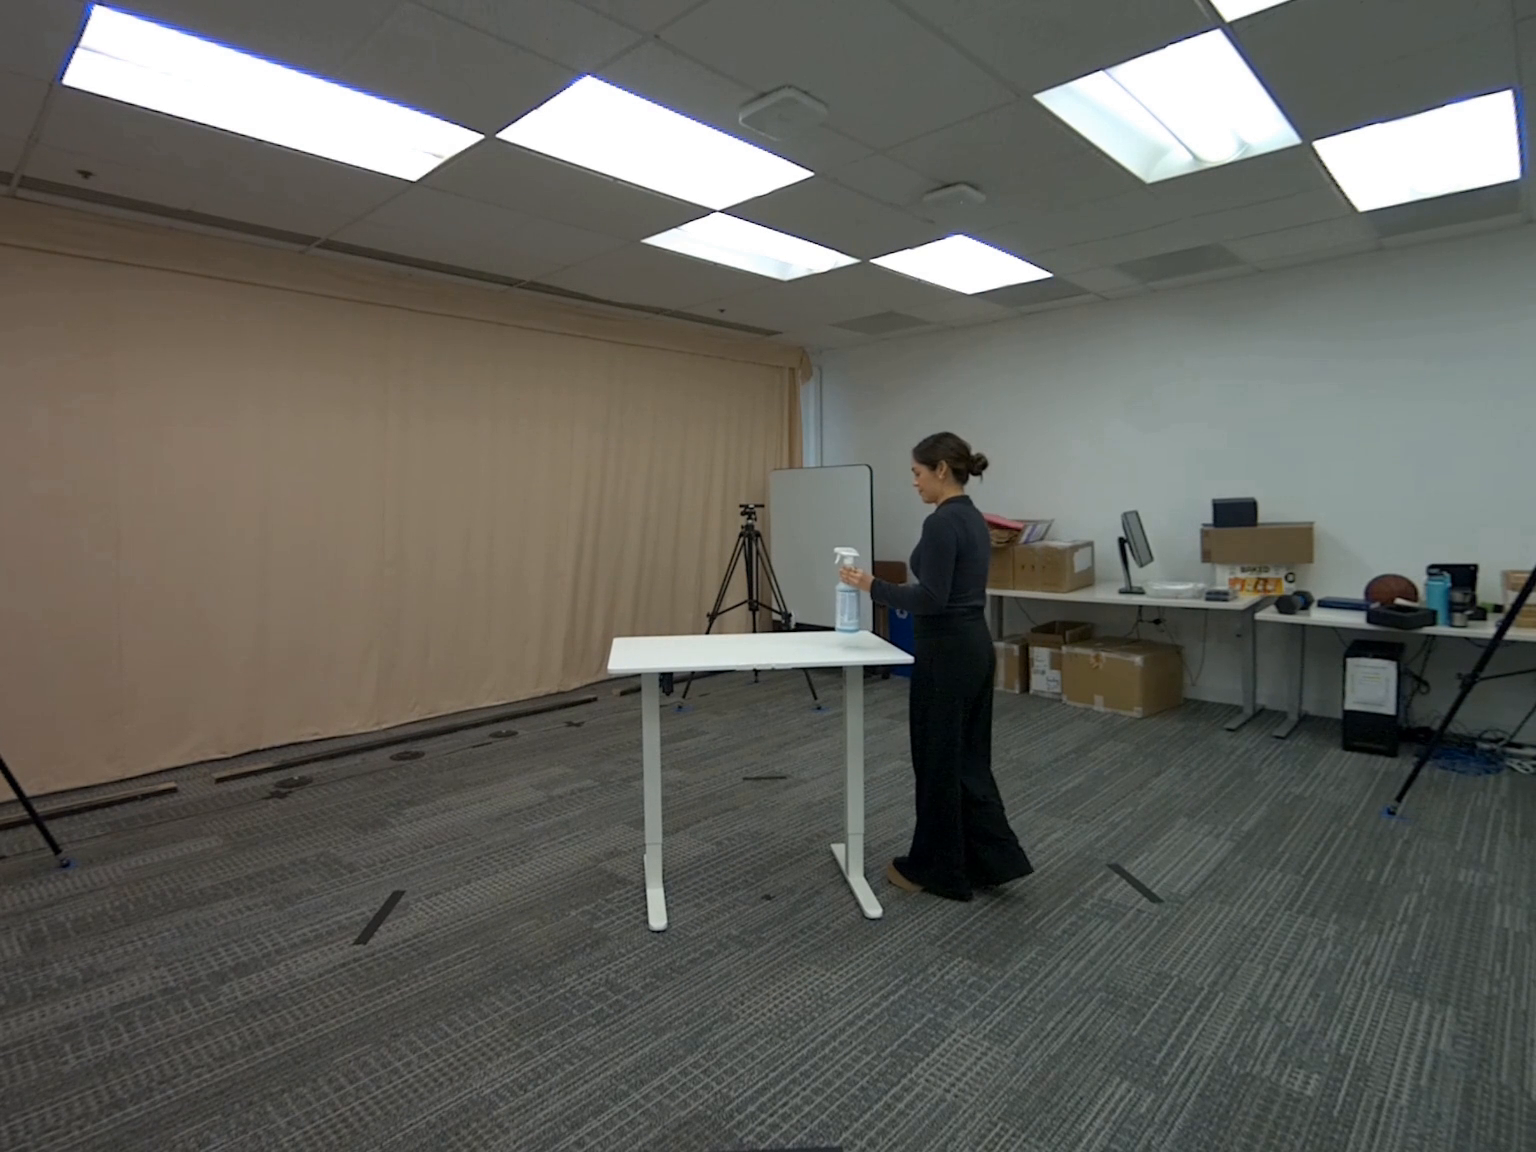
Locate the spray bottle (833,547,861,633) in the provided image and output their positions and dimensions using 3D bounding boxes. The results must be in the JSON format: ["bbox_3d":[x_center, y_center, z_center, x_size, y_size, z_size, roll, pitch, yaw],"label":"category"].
[{"bbox_3d":[0.293,0.056,2.963,0.091,0.296,0.086,0,5,10],"label":"spray bottle"}]
